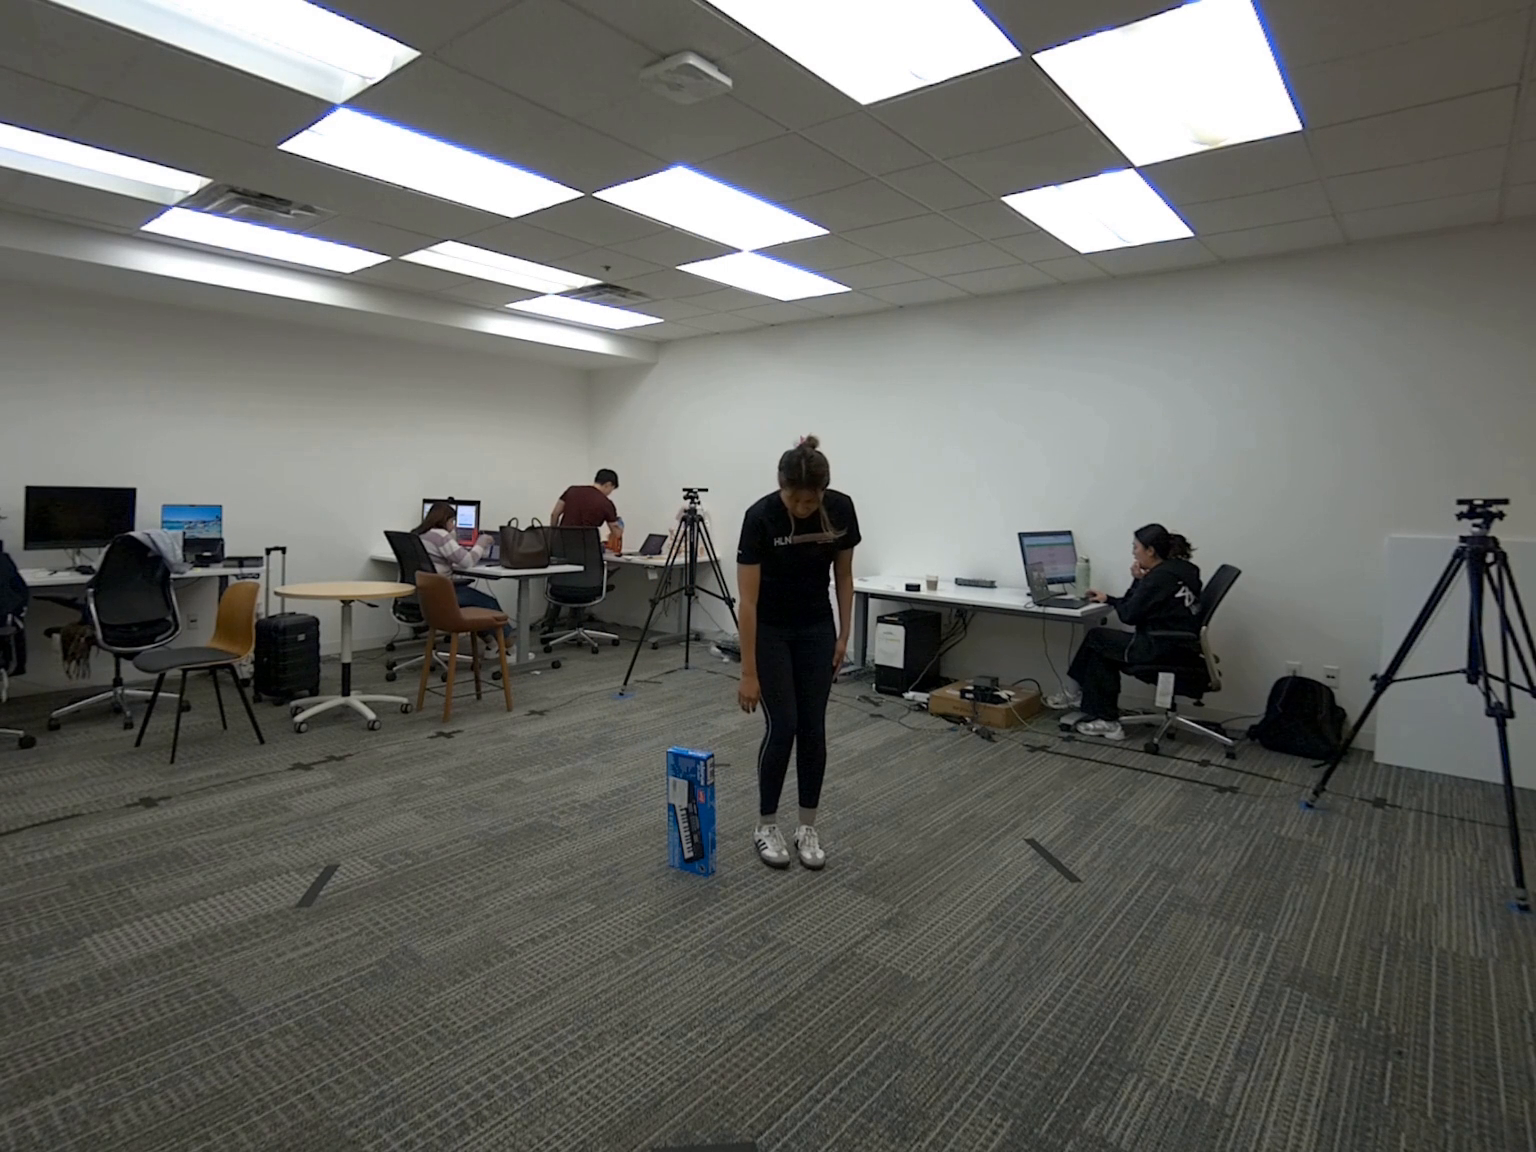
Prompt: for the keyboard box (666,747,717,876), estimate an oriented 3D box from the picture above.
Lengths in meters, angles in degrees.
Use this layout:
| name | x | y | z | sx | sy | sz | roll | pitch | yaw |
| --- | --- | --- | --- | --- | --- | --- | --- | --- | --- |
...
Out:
| name | x | y | z | sx | sy | sz | roll | pitch | yaw |
| --- | --- | --- | --- | --- | --- | --- | --- | --- | --- |
| keyboard box | -0.291 | 0.851 | 3.095 | 0.181 | 0.434 | 0.058 | 3 | 6 | 29 |
